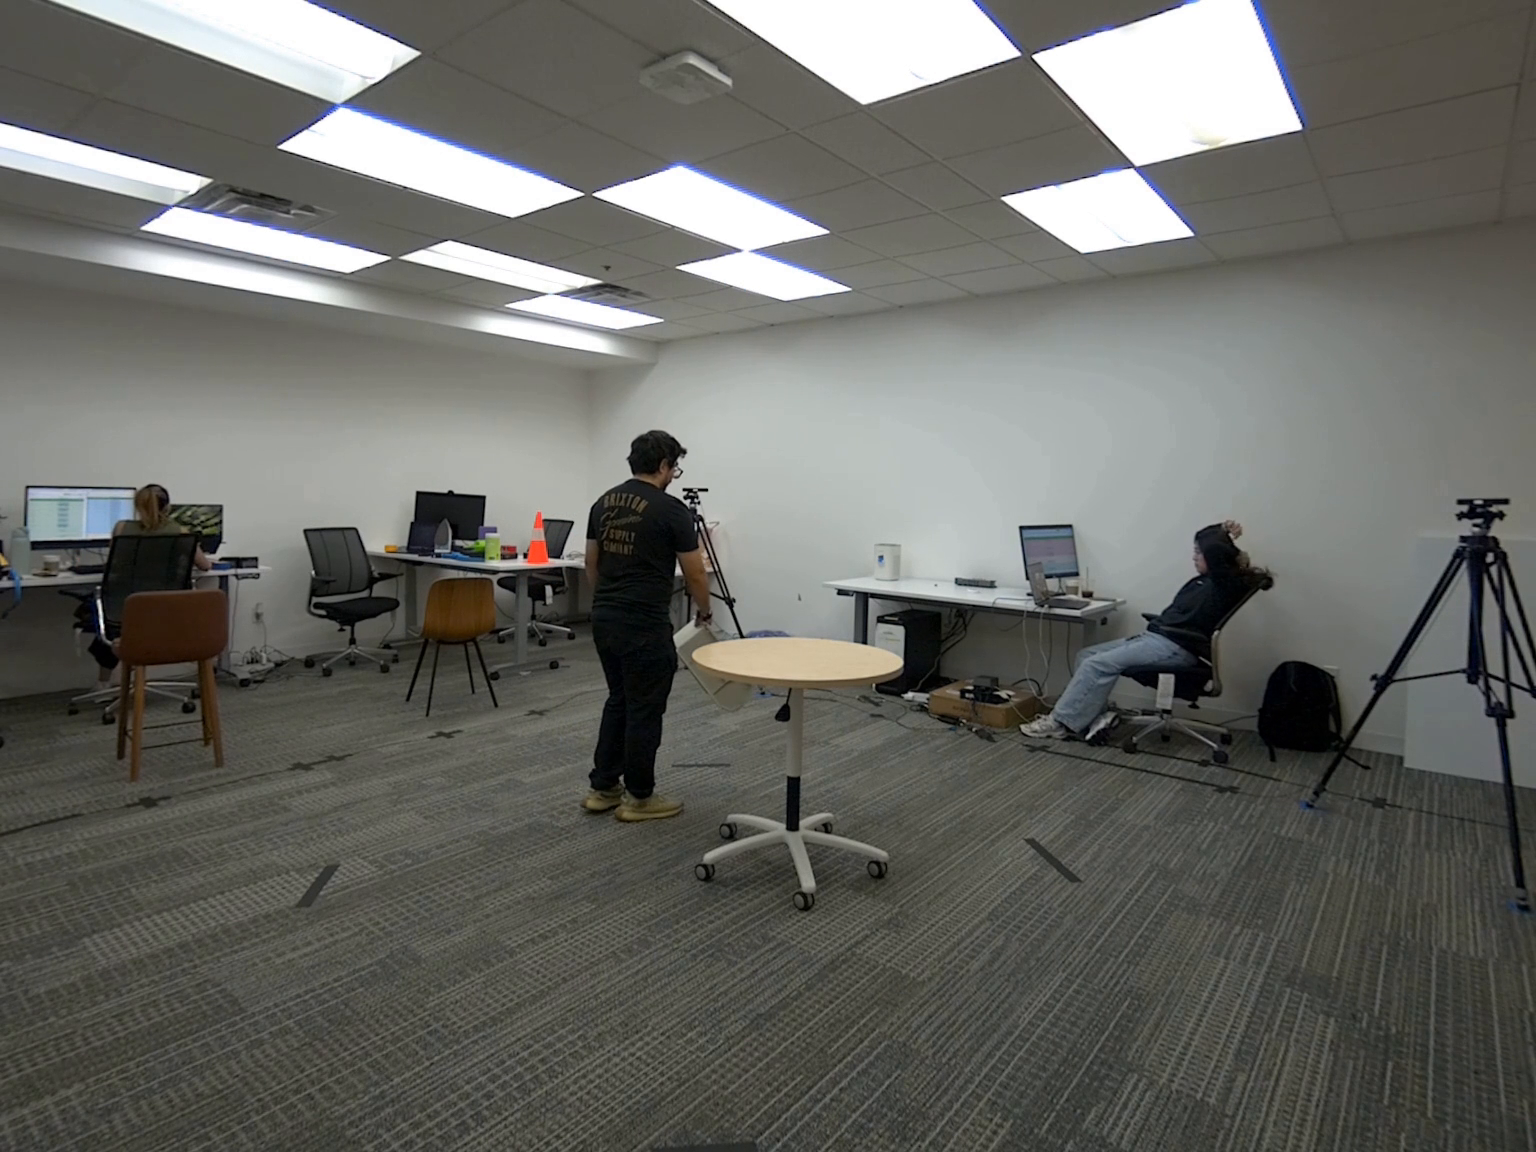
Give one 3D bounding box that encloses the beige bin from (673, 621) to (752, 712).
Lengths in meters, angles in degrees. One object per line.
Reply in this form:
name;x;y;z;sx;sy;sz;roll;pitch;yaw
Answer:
beige bin;-0.249;0.396;3.831;0.189;0.376;0.424;-39;3;-2
